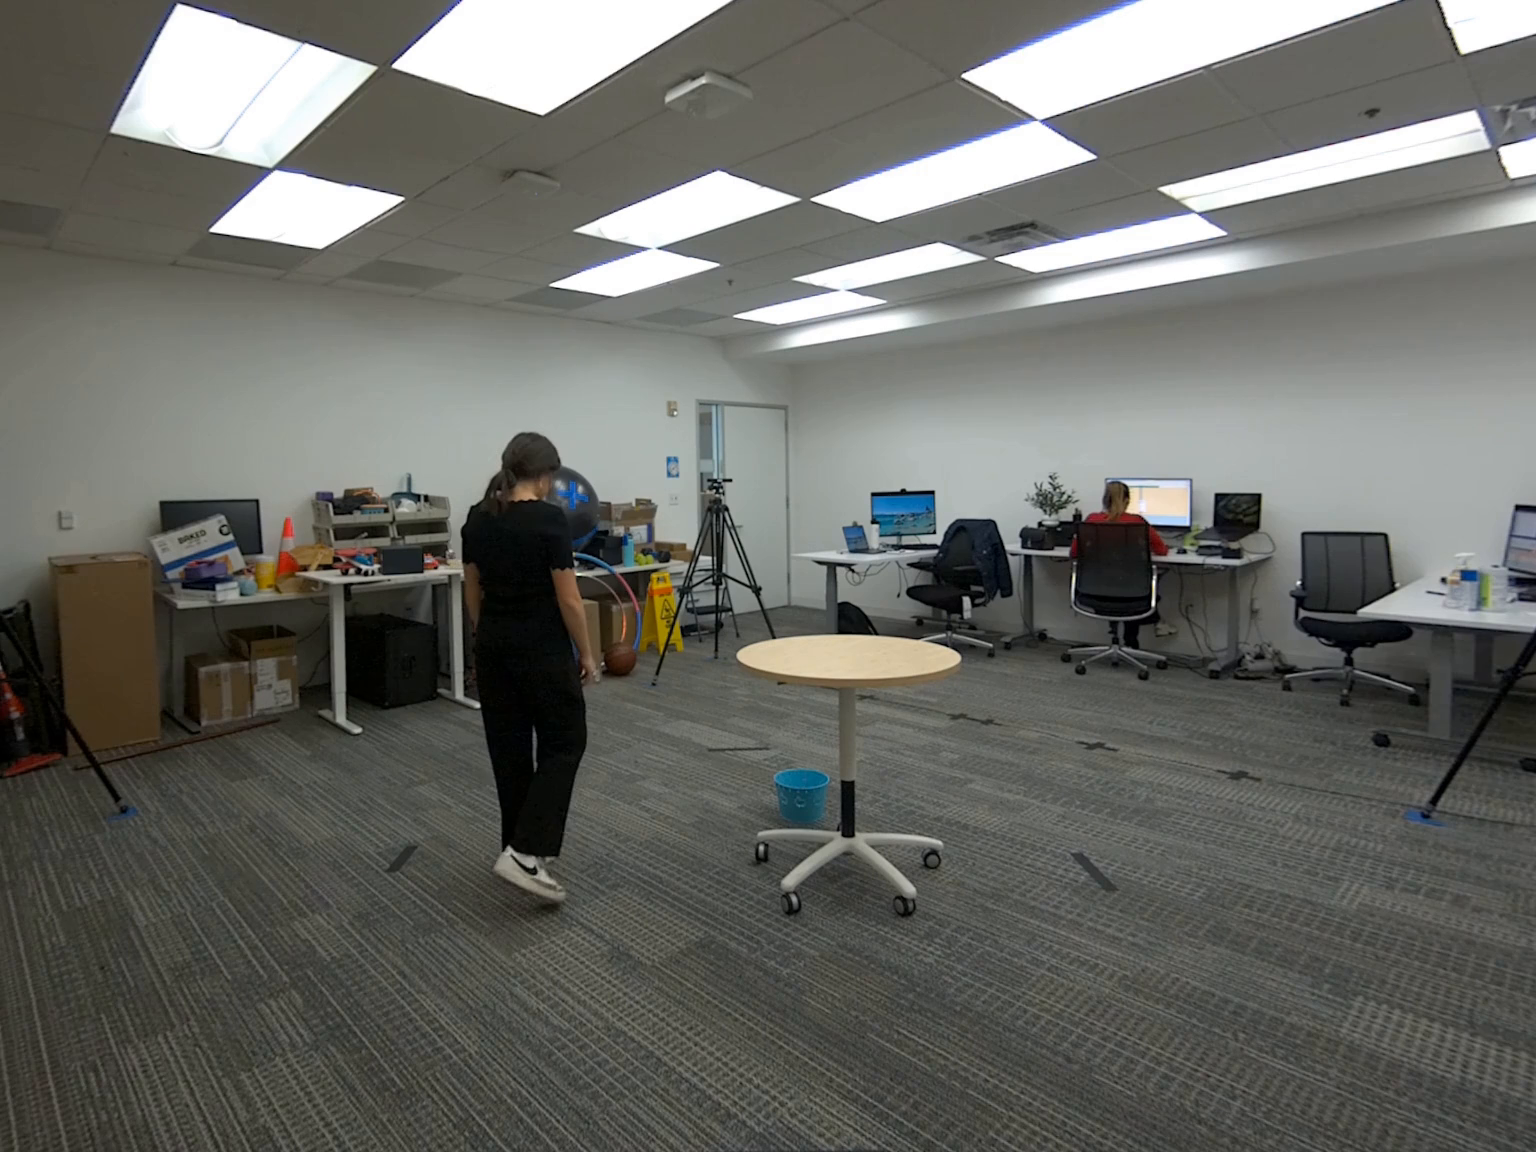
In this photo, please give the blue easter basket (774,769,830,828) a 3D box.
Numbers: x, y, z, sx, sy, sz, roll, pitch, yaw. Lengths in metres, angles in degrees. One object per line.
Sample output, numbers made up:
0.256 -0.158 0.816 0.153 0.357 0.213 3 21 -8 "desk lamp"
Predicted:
0.139 0.914 3.543 0.243 0.155 0.245 -1 6 -2 "blue easter basket"
